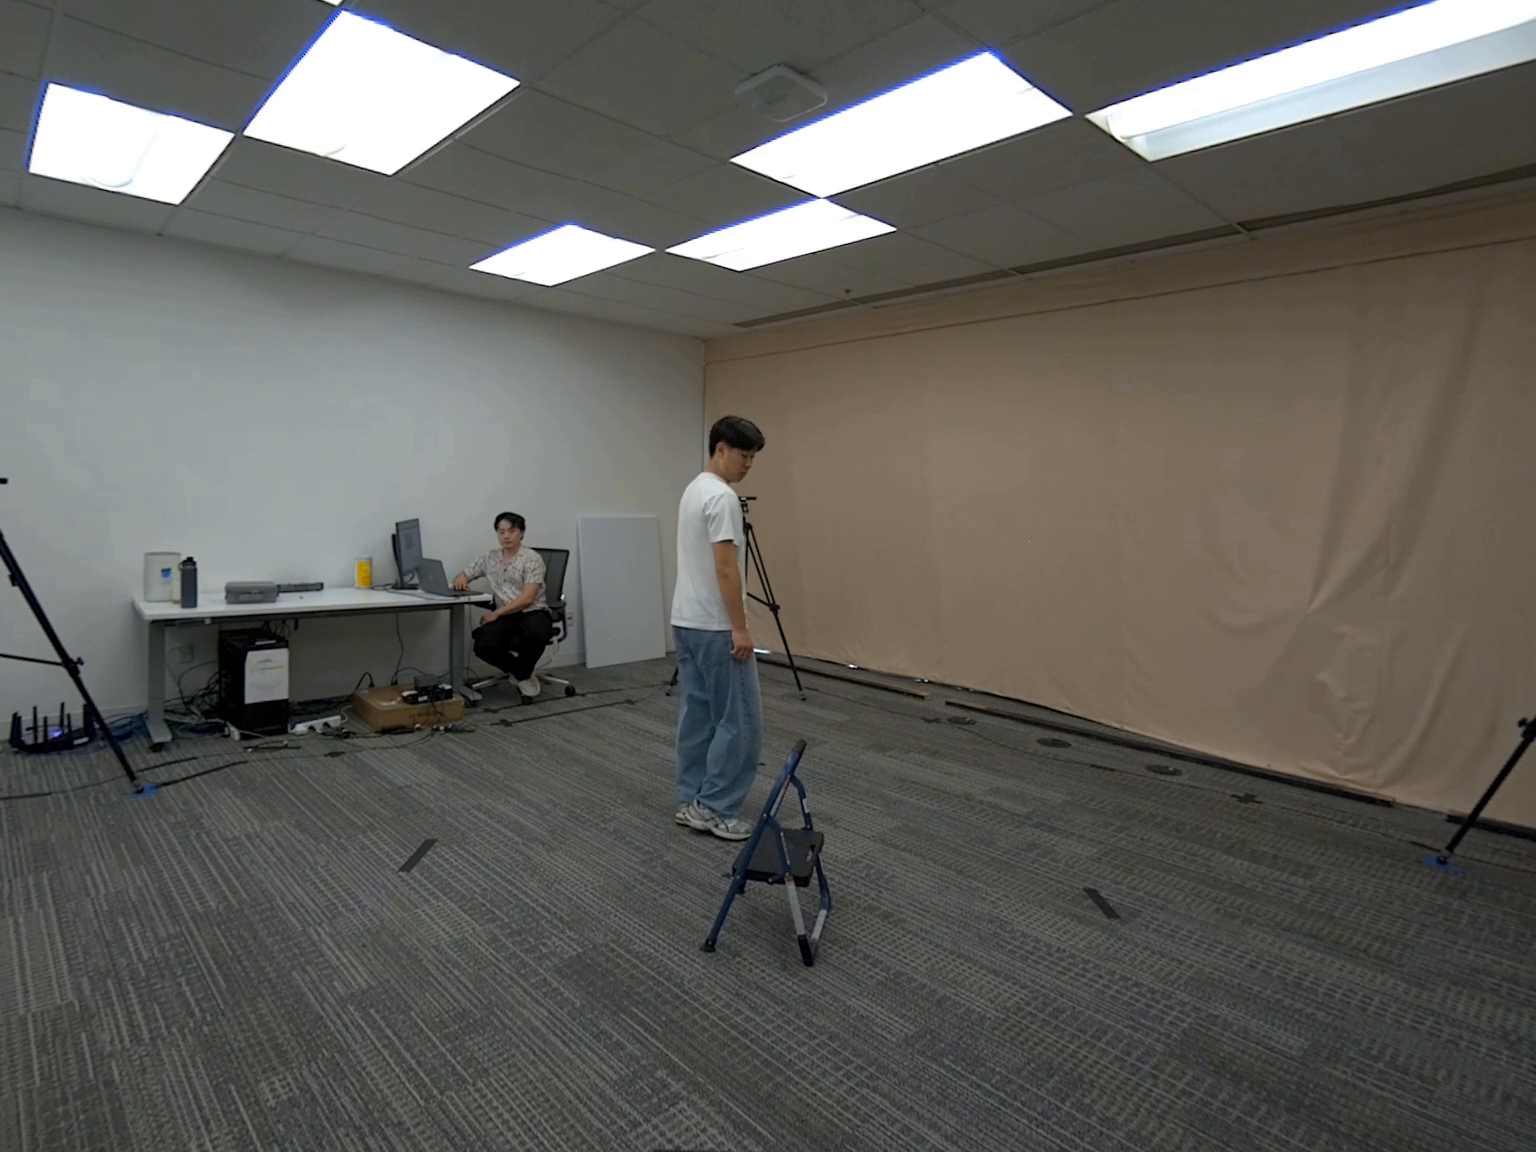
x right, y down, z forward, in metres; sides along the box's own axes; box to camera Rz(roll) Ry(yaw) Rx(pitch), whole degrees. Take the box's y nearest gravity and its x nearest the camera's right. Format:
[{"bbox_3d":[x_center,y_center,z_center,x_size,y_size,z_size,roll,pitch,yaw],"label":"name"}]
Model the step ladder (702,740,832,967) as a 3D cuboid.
[{"bbox_3d":[0.014,0.842,2.722,0.353,0.604,0.427,2,4,12],"label":"step ladder"}]
